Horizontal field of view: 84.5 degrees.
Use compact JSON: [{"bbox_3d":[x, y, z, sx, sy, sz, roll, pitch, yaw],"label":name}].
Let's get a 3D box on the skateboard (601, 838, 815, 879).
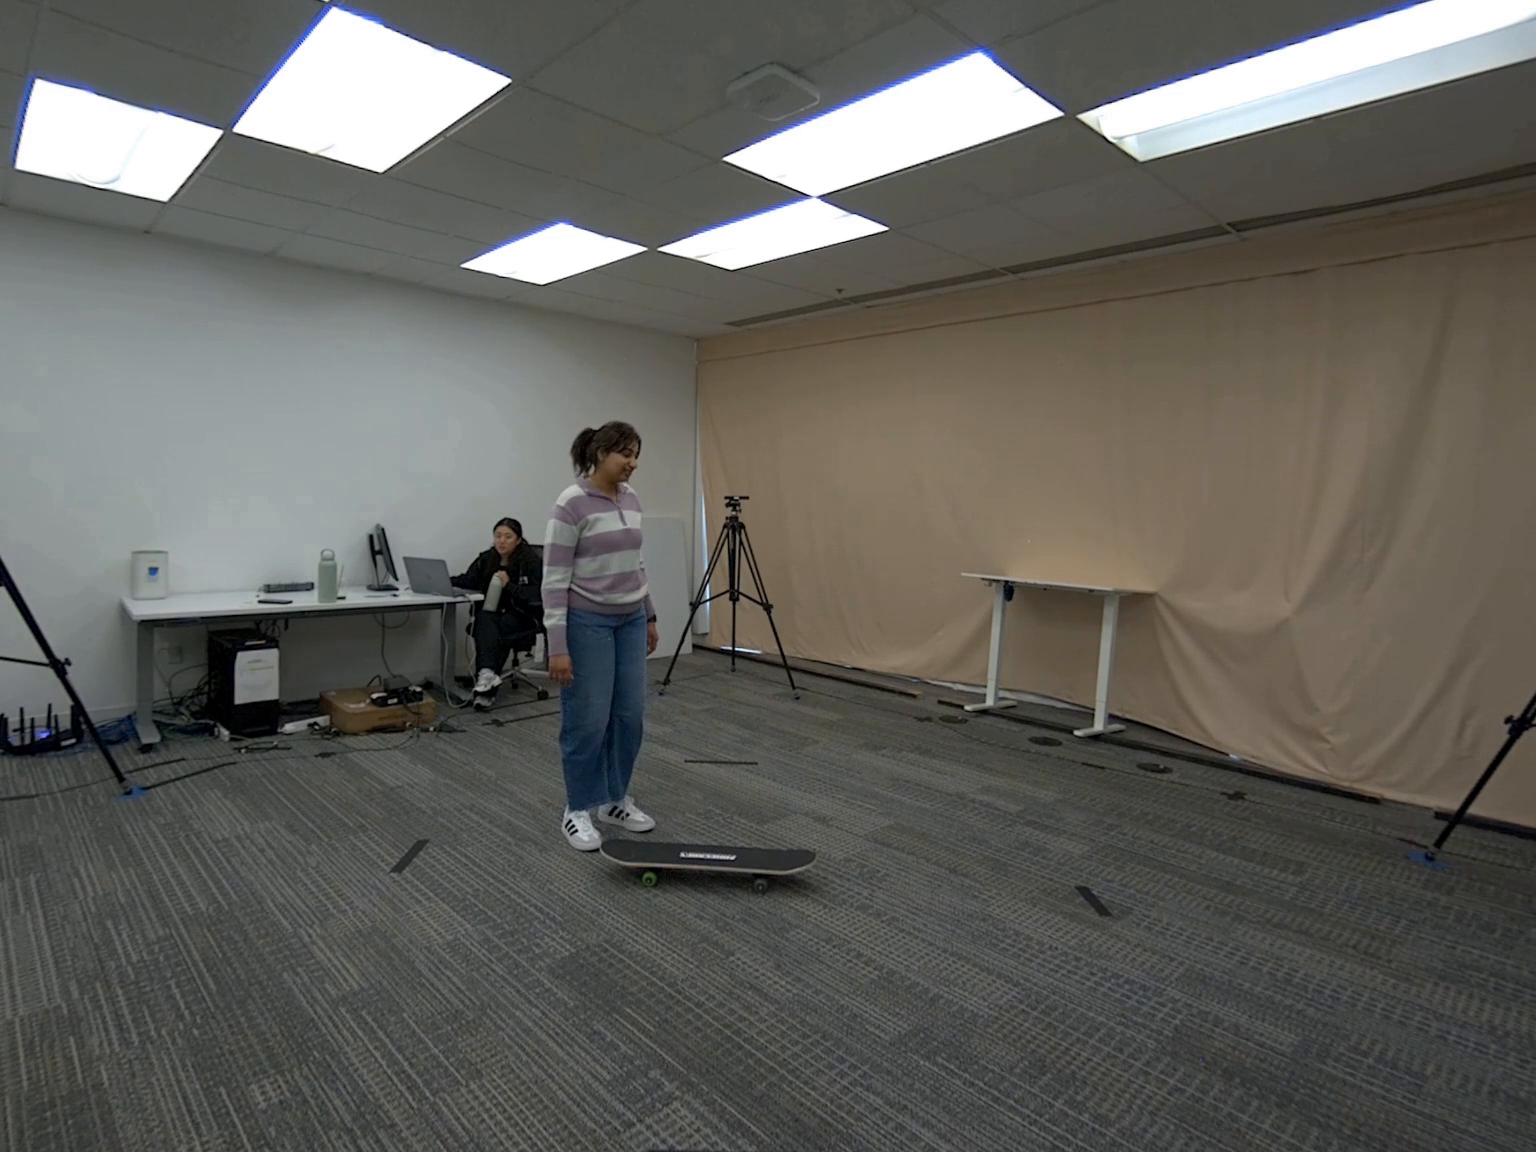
[{"bbox_3d":[-0.226,1.045,3.059,0.789,0.110,0.193,1,4,5],"label":"skateboard"}]
